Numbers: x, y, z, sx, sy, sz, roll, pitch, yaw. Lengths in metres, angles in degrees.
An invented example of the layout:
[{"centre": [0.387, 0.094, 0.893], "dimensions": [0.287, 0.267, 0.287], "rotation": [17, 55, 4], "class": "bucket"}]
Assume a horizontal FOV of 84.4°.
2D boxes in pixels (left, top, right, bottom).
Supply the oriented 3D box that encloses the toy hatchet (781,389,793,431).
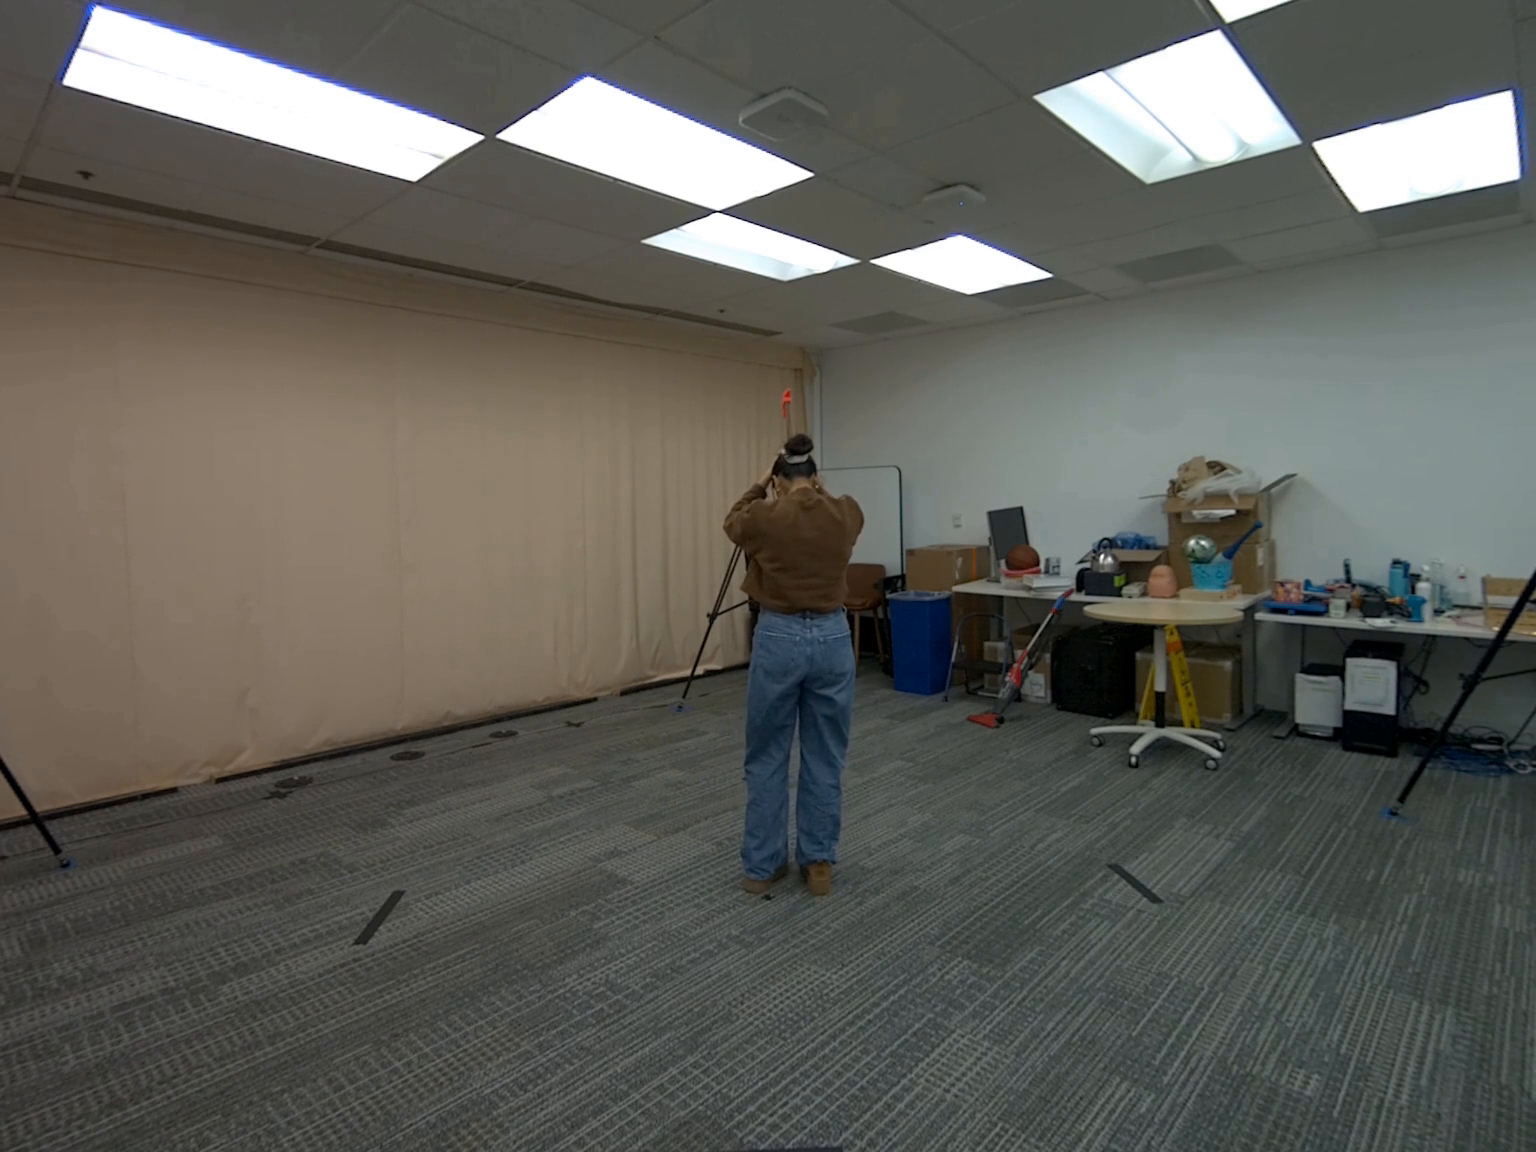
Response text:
[{"centre": [0.077, -0.592, 3.291], "dimensions": [0.029, 0.271, 0.132], "rotation": [0, -8, -14], "class": "toy hatchet"}]
